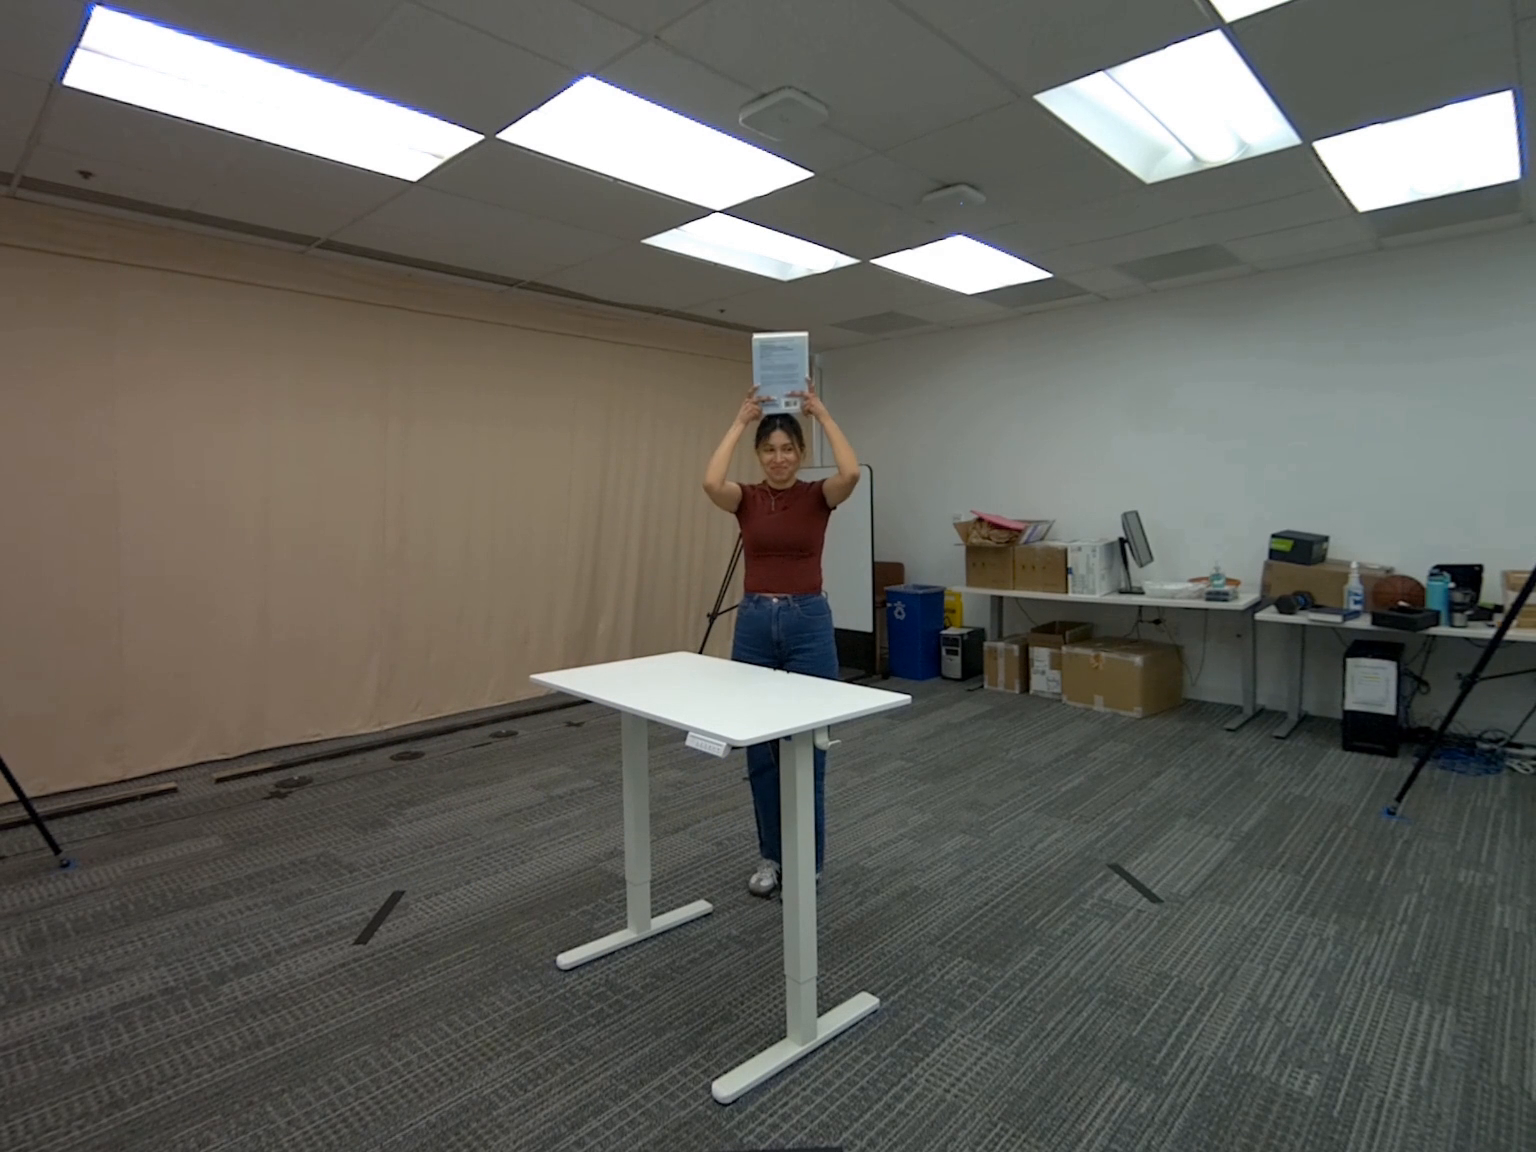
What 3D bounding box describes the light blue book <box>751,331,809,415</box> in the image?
[{"bbox_3d":[0.038,-0.686,2.865,0.191,0.257,0.060,-1,25,1],"label":"light blue book"}]
